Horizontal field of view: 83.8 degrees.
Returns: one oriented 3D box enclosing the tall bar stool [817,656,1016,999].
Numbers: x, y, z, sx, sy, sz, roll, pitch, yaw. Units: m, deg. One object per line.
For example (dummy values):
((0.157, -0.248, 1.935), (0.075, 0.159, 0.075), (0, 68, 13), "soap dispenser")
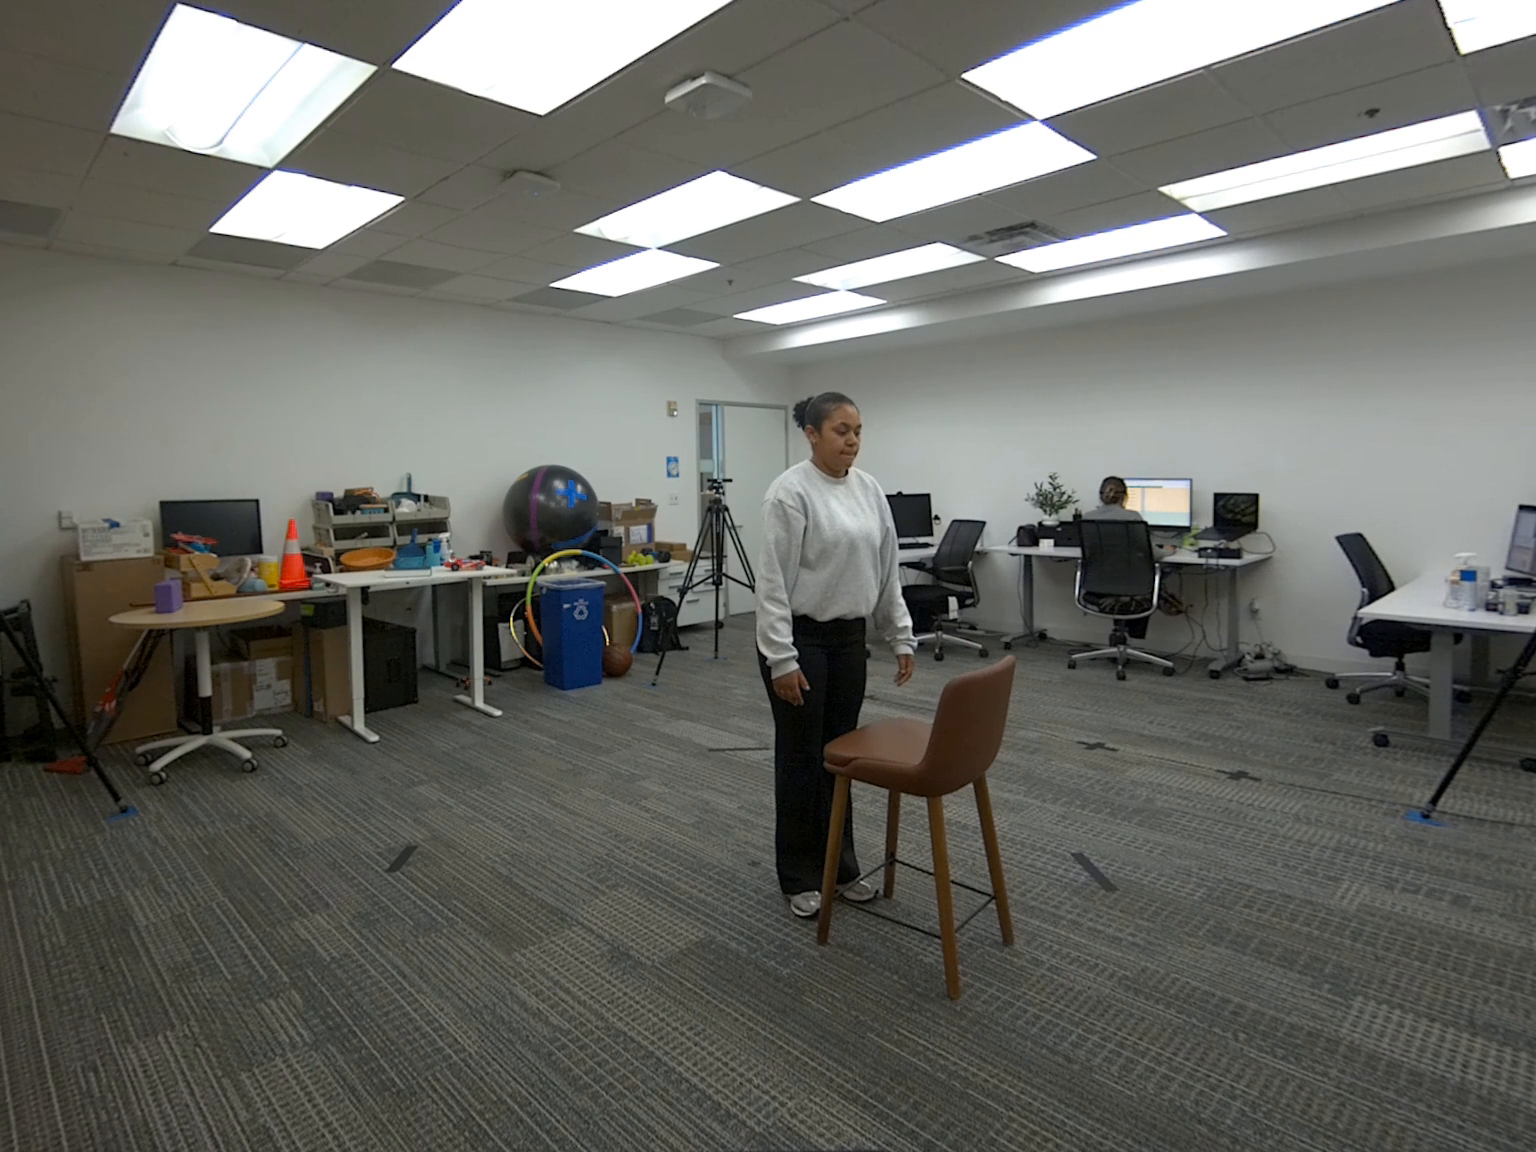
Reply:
((0.451, 0.664, 2.525), (0.482, 0.885, 0.445), (5, 8, 40), "tall bar stool")
